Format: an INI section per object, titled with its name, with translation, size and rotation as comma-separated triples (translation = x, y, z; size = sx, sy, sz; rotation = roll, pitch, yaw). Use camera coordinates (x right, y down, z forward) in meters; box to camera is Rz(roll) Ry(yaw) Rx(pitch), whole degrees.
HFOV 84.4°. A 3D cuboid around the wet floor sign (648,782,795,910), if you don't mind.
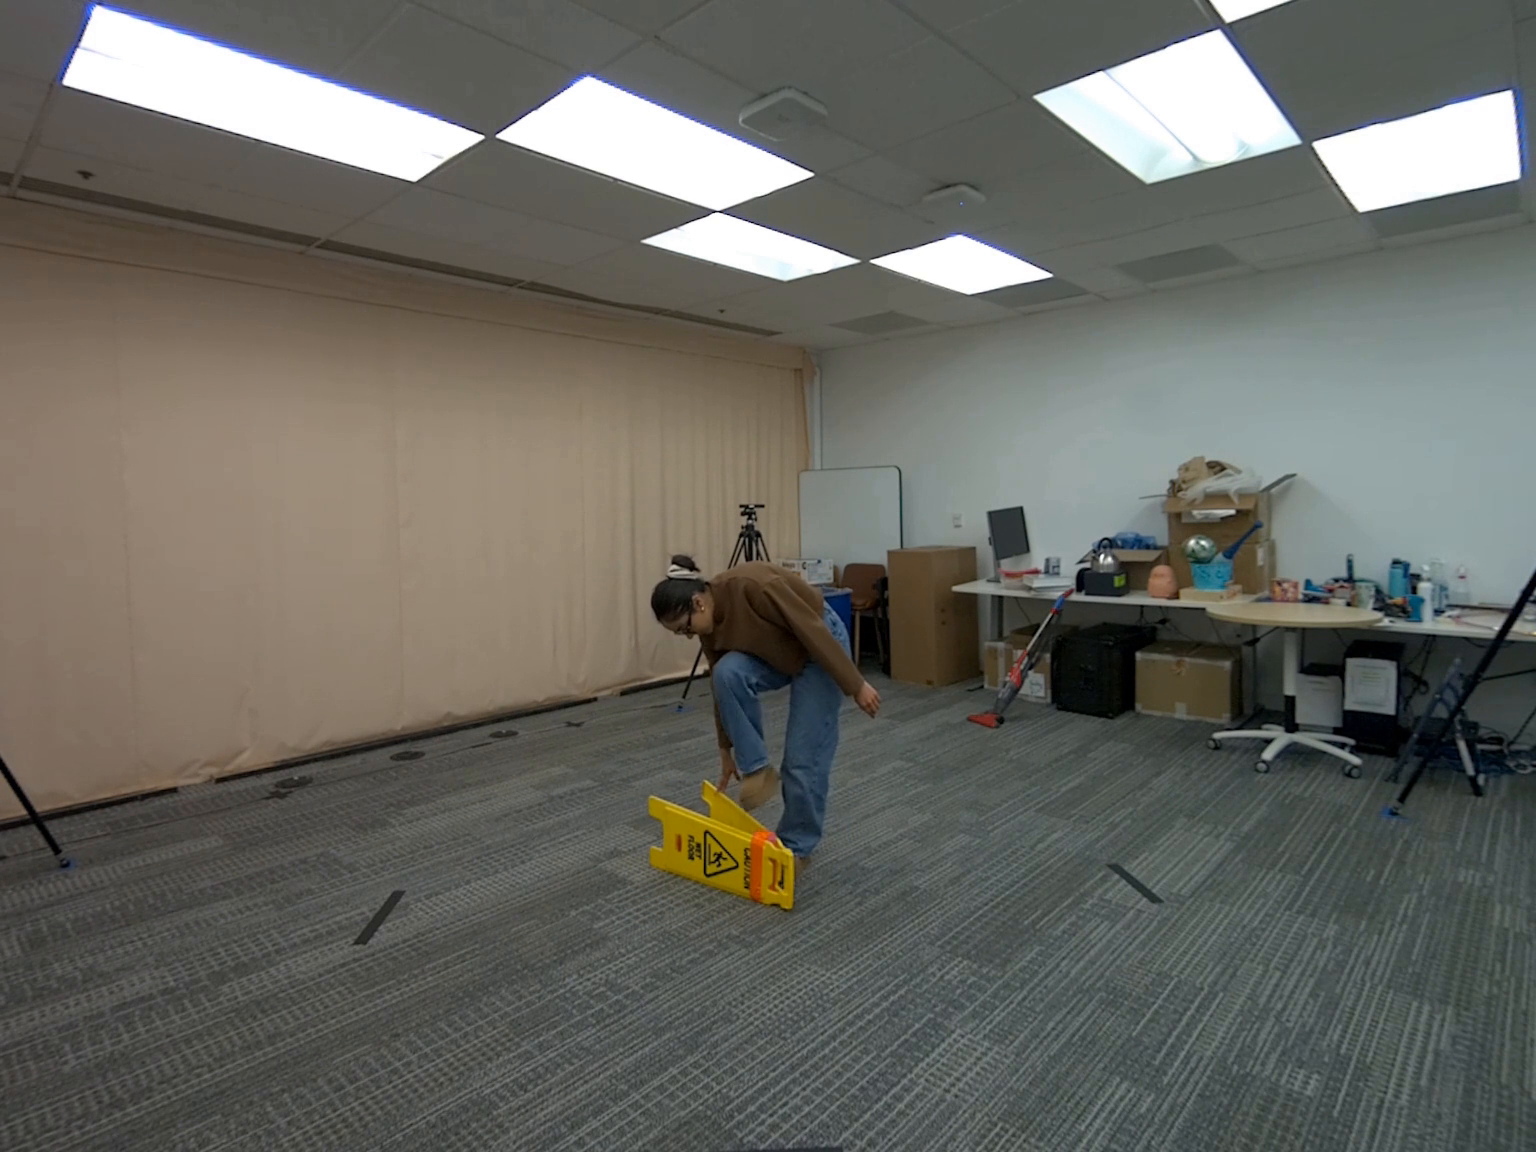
[wet floor sign]
translation = -0.135, 1.005, 3.108
size = 0.281, 0.281, 0.668
rotation = -4, 8, -42
